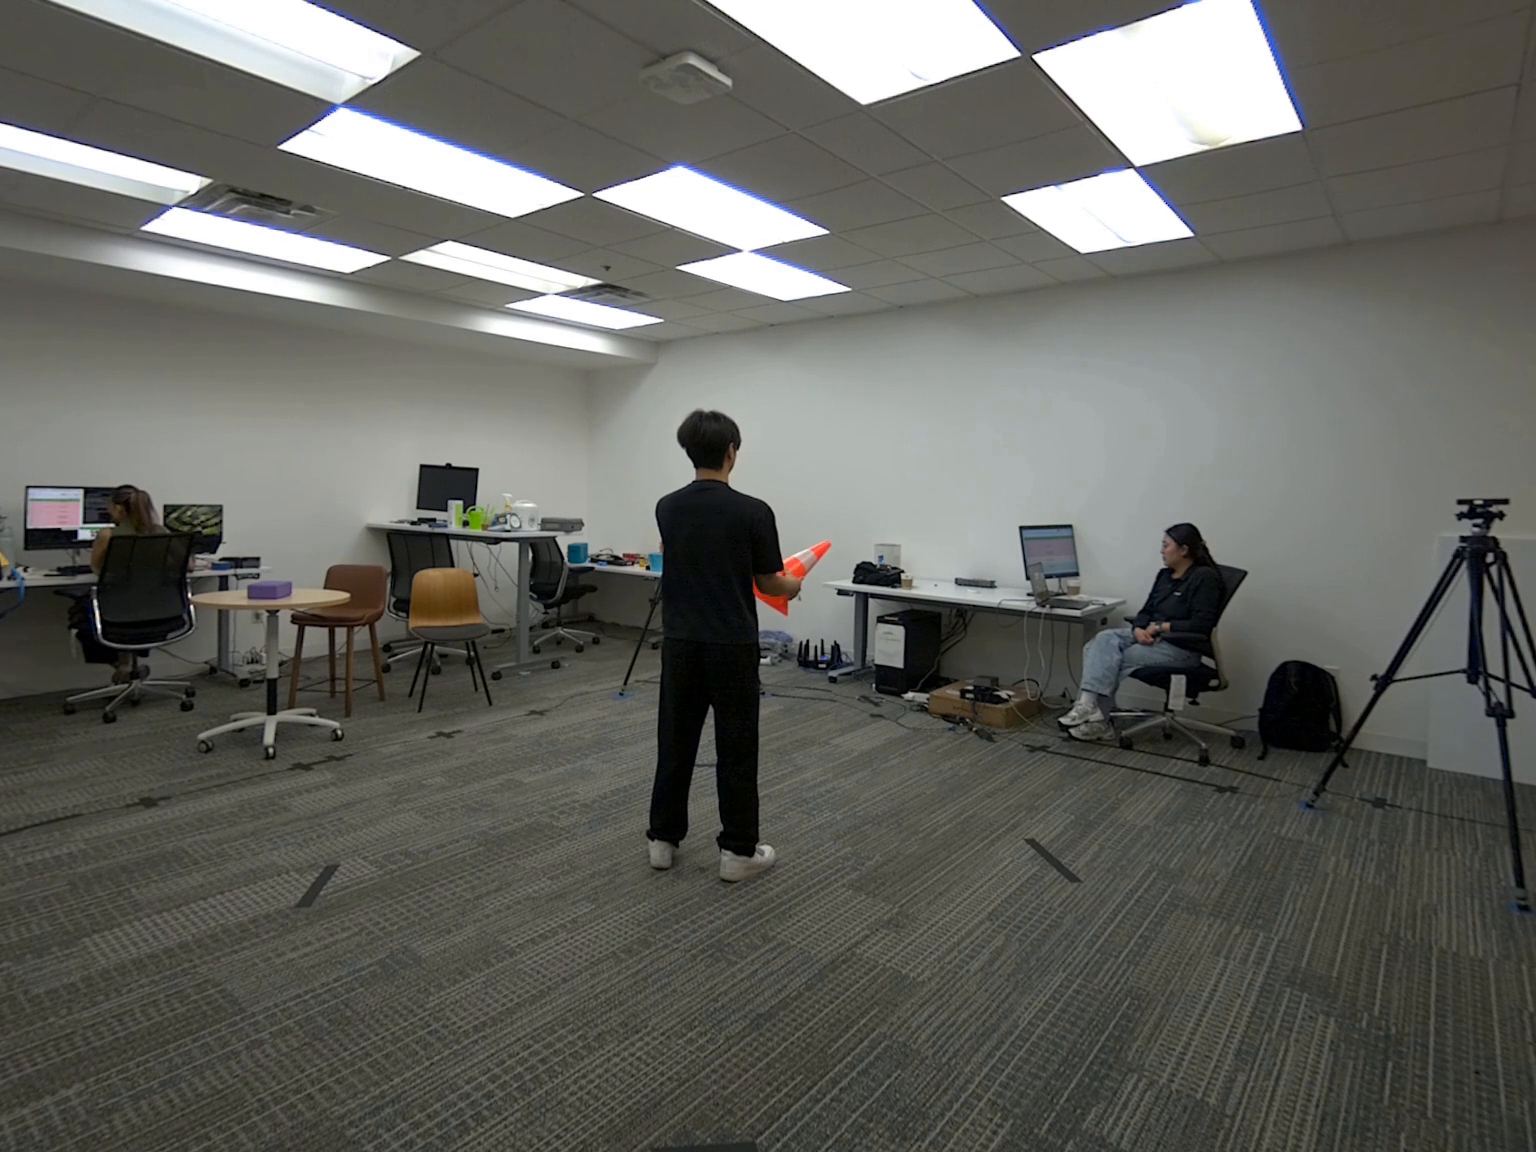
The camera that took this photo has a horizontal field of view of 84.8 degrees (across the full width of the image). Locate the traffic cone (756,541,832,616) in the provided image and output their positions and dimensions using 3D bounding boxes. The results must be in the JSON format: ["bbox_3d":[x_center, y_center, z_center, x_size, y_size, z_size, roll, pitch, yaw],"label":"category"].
[{"bbox_3d":[0.127,-0.048,3.541,0.211,0.199,0.380,29,50,35],"label":"traffic cone"}]
